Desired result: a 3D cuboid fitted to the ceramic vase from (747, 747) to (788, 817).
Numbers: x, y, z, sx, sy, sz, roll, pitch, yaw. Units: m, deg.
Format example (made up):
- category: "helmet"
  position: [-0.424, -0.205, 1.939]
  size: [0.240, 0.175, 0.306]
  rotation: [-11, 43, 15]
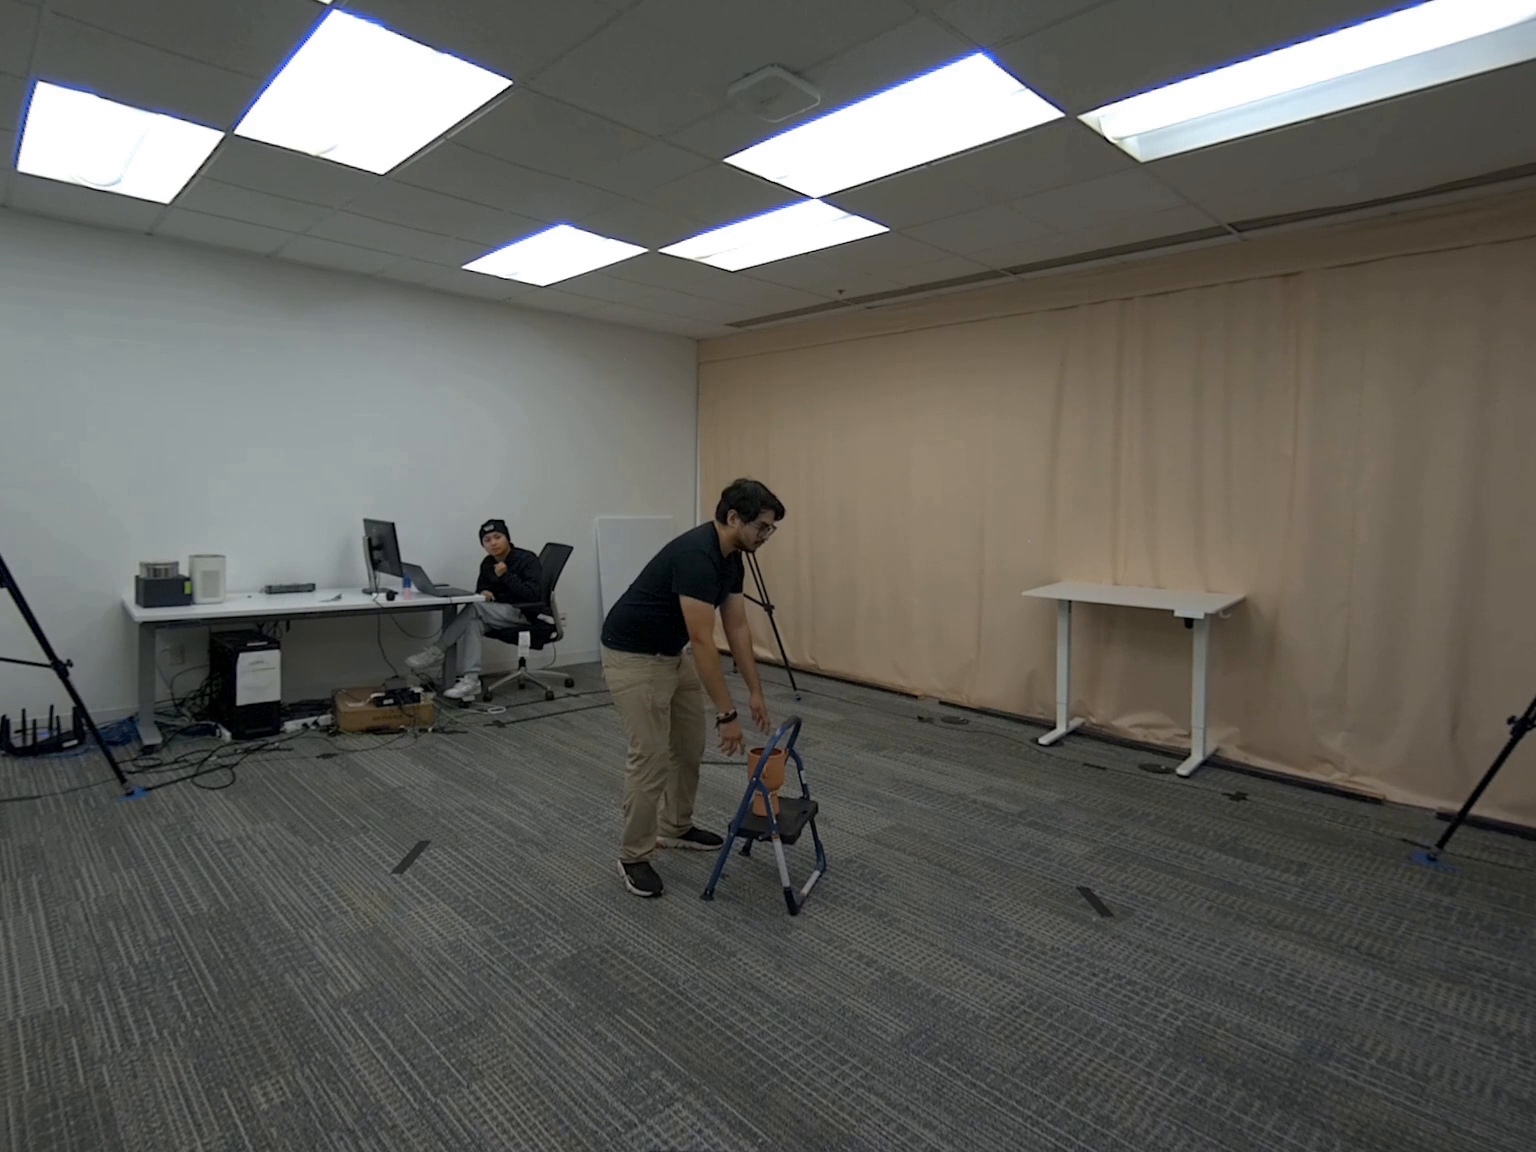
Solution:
- category: "ceramic vase"
  position: [-0.017, 0.745, 3.046]
  size: [0.138, 0.219, 0.155]
  rotation: [2, 3, 45]
